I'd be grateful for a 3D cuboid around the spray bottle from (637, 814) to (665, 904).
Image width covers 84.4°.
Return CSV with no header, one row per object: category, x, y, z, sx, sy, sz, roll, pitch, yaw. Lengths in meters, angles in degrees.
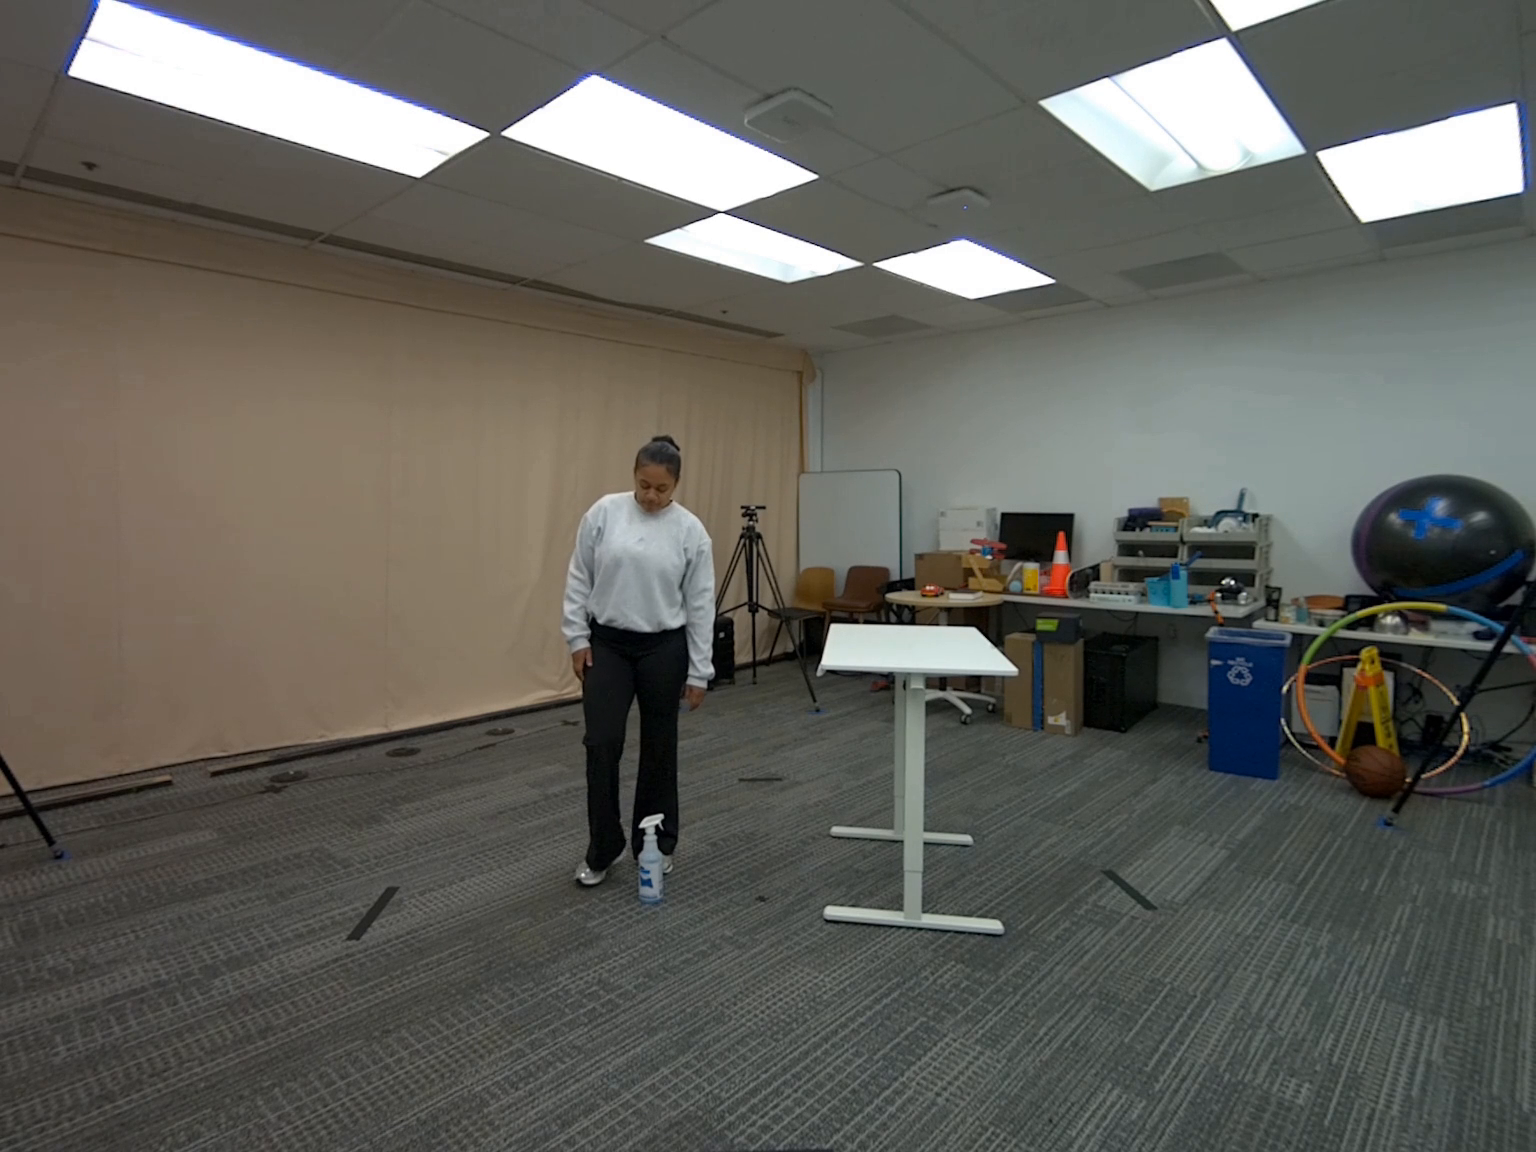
spray bottle,-0.419,0.997,2.982,0.090,0.297,0.087,1,2,-3
